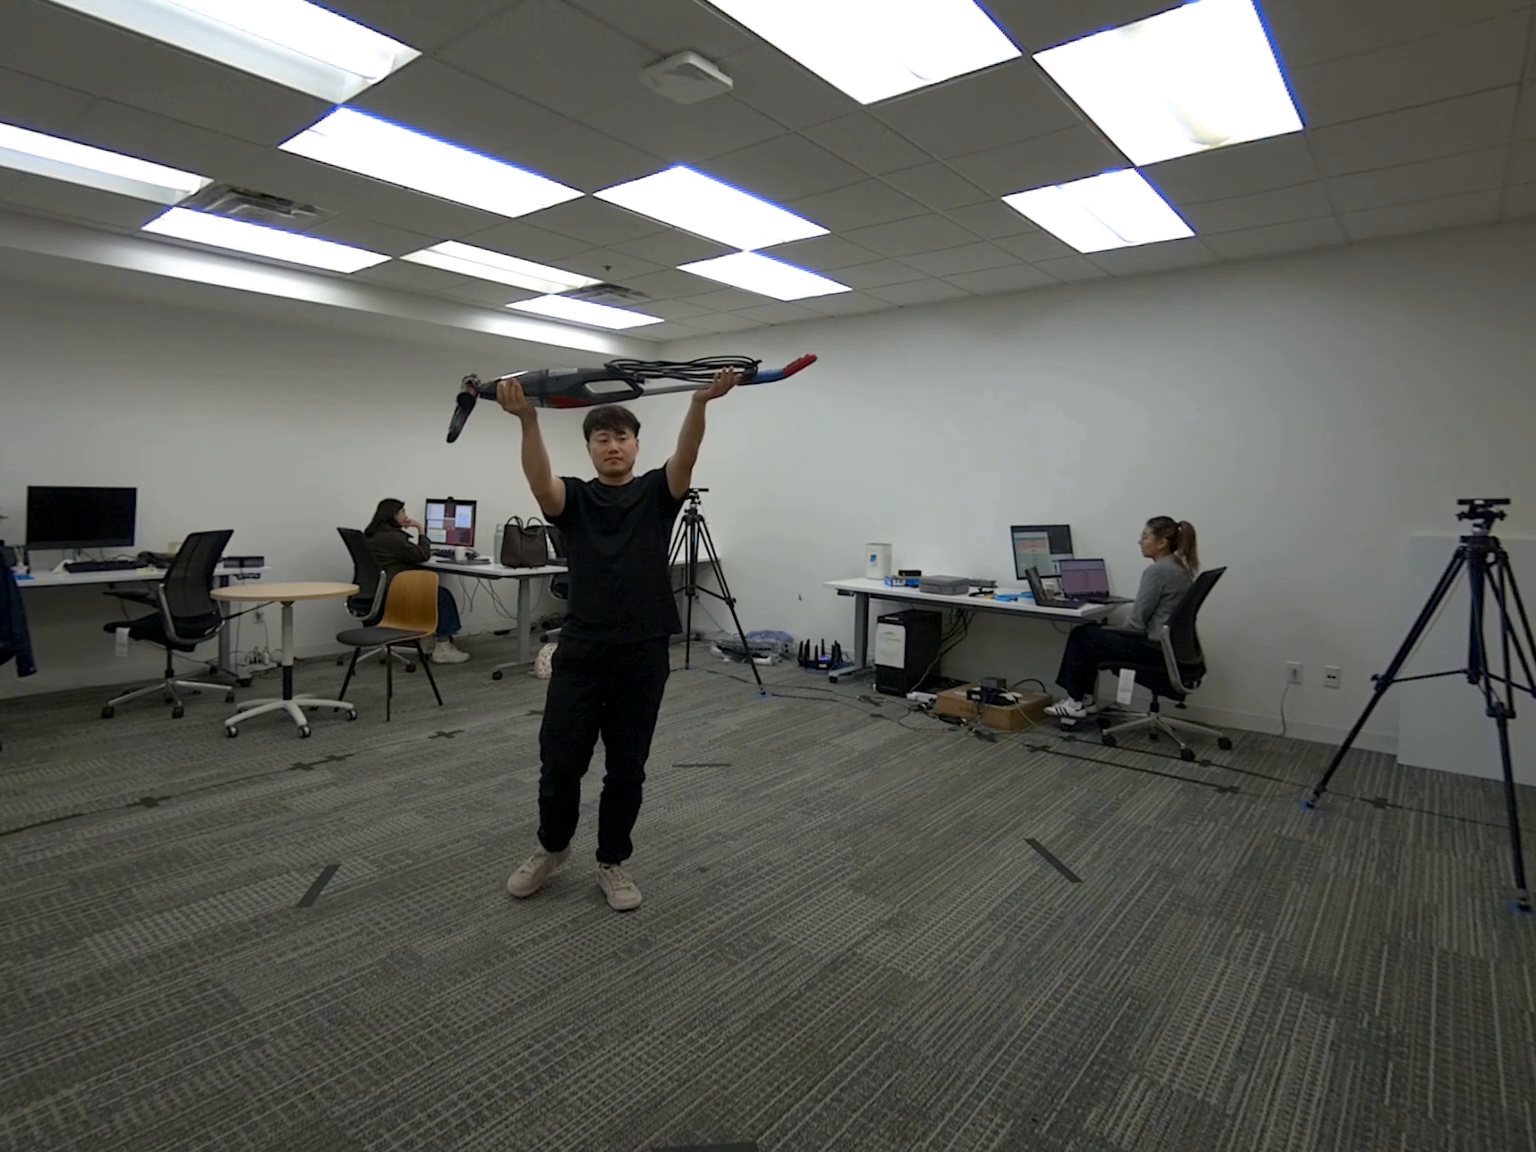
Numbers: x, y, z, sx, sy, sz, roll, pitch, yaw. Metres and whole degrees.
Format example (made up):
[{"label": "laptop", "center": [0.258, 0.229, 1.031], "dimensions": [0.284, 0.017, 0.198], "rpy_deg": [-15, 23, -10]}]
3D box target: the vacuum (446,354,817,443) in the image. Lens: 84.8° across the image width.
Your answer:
[{"label": "vacuum", "center": [-0.400, -0.570, 2.499], "dimensions": [1.048, 0.139, 0.260], "rpy_deg": [-8, 35, -1]}]
